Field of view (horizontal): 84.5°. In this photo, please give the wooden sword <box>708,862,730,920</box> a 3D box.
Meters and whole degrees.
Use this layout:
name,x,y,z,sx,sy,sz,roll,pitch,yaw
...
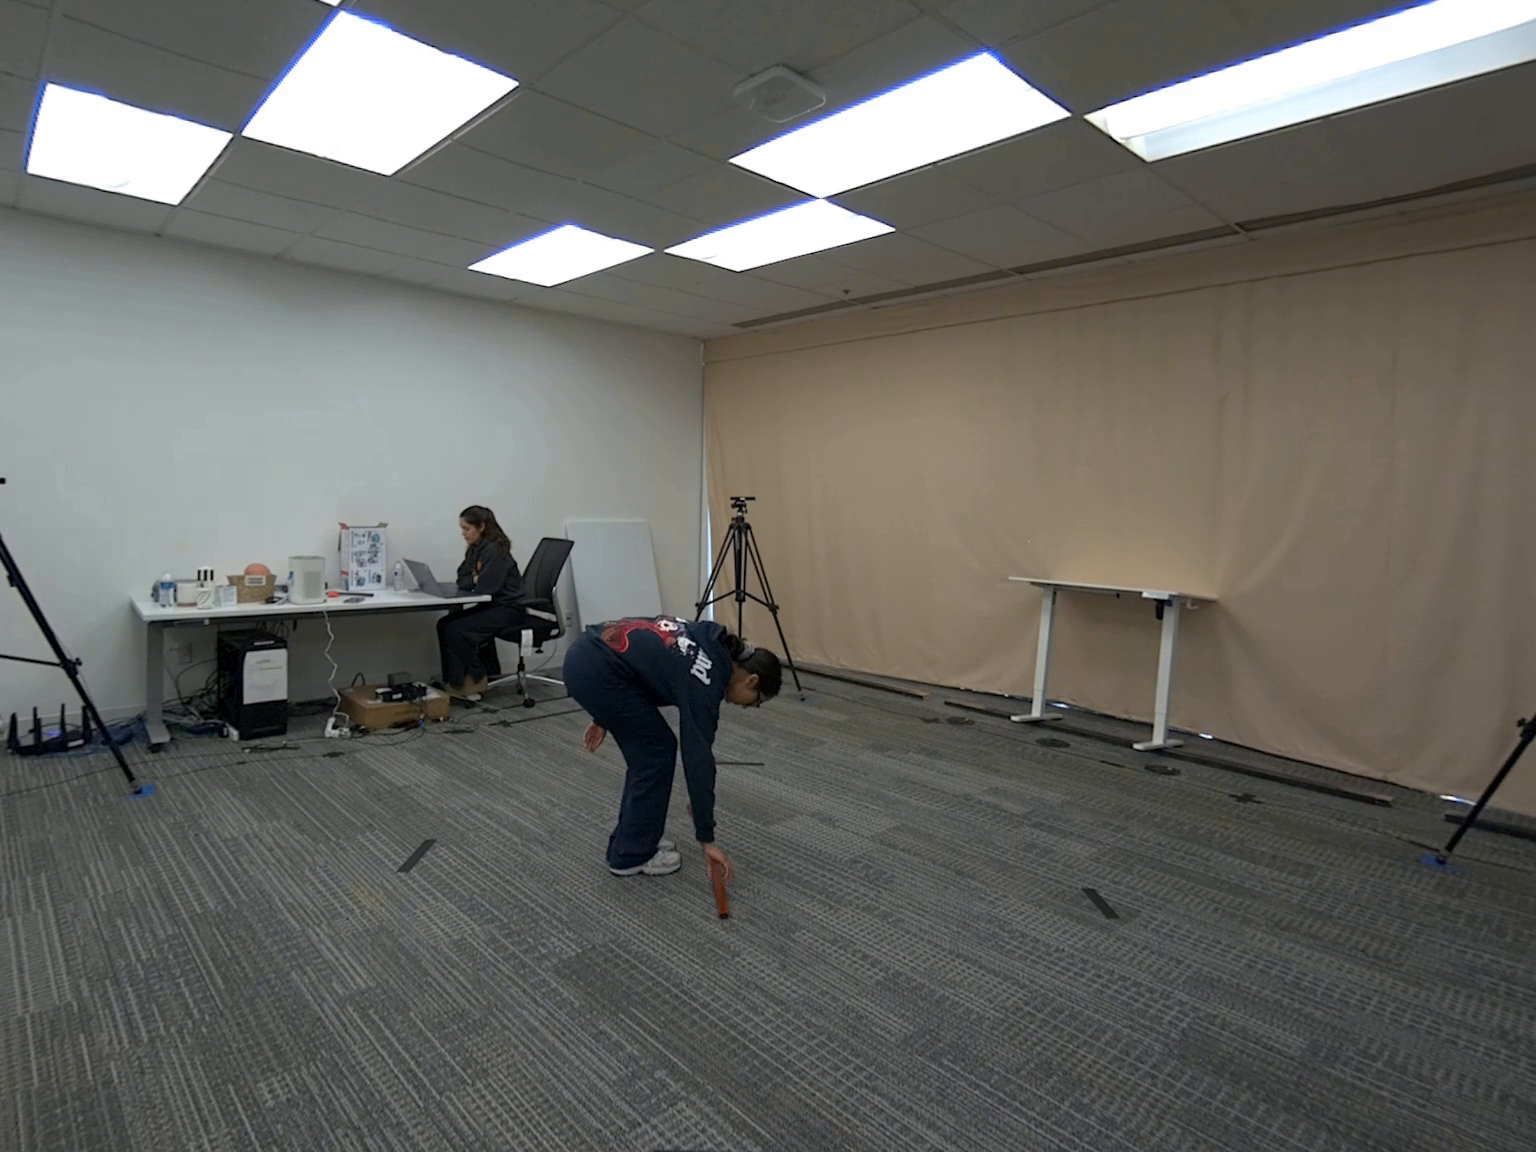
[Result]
name,x,y,z,sx,sy,sz,roll,pitch,yaw
wooden sword,-0.238,1.067,3.284,0.051,0.024,1.035,-15,7,-9
